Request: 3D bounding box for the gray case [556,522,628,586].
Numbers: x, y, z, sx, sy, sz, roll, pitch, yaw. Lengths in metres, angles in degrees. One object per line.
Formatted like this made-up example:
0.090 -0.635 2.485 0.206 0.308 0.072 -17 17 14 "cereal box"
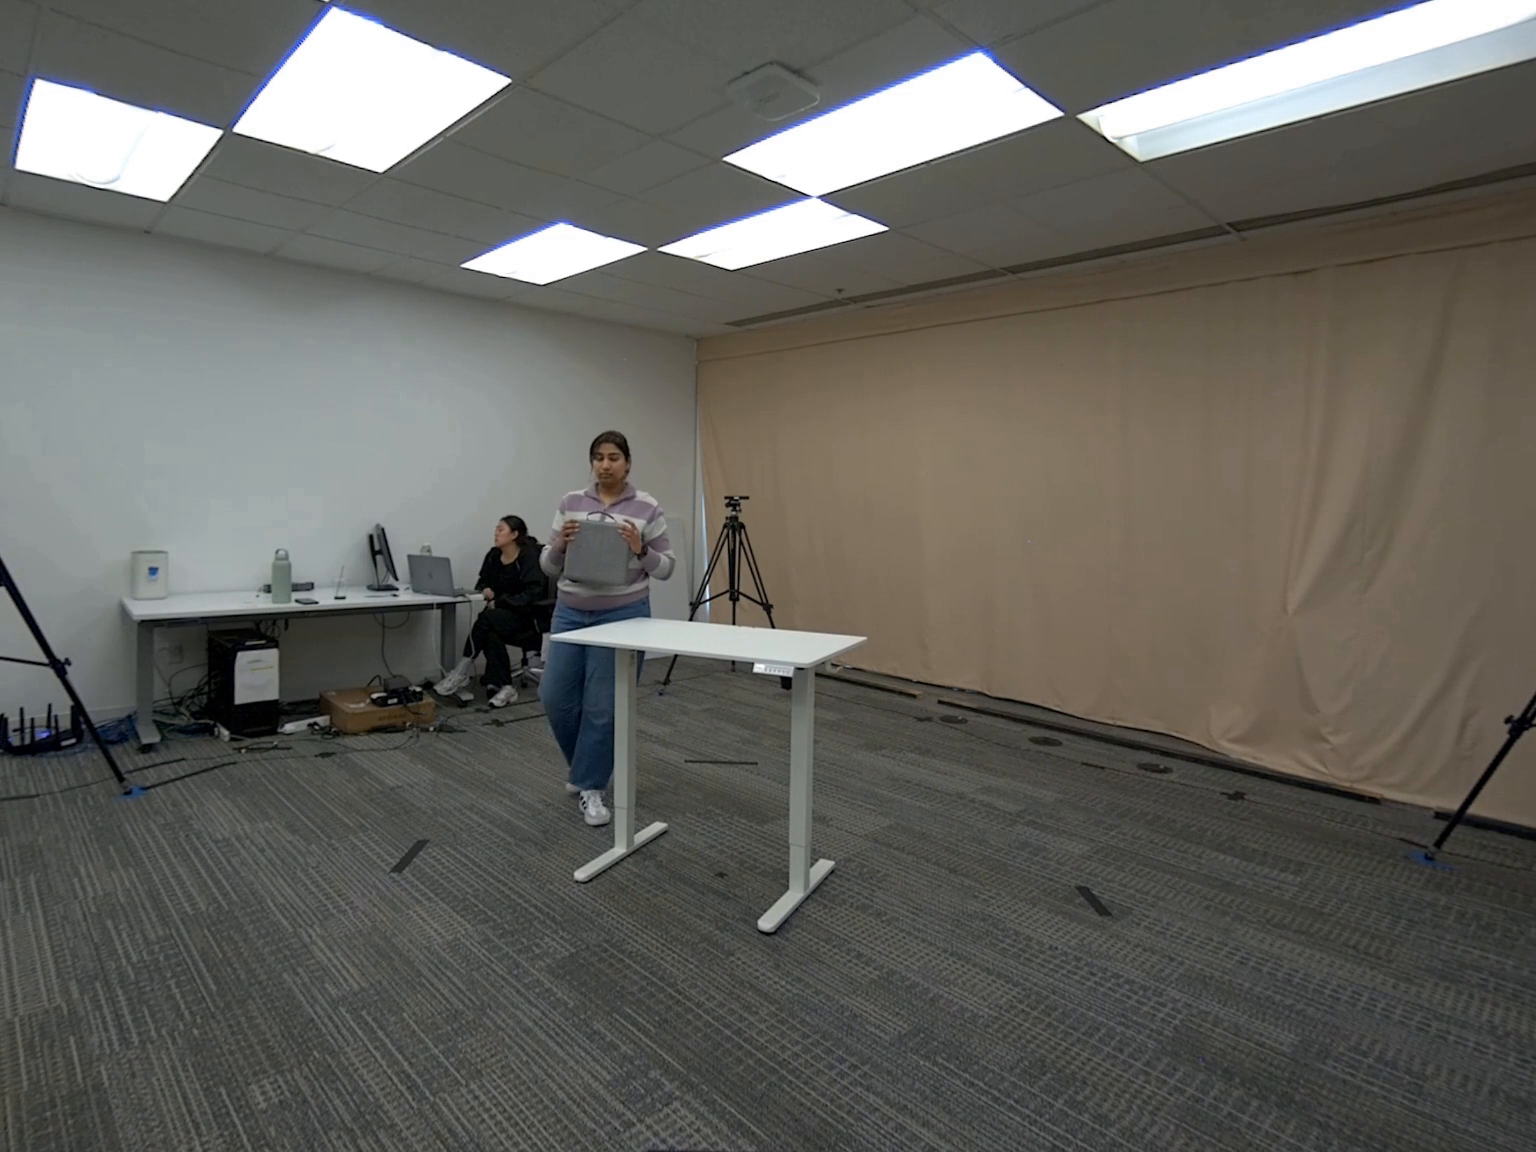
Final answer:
-0.712 -0.096 3.447 0.256 0.261 0.104 6 -5 -5 "gray case"
